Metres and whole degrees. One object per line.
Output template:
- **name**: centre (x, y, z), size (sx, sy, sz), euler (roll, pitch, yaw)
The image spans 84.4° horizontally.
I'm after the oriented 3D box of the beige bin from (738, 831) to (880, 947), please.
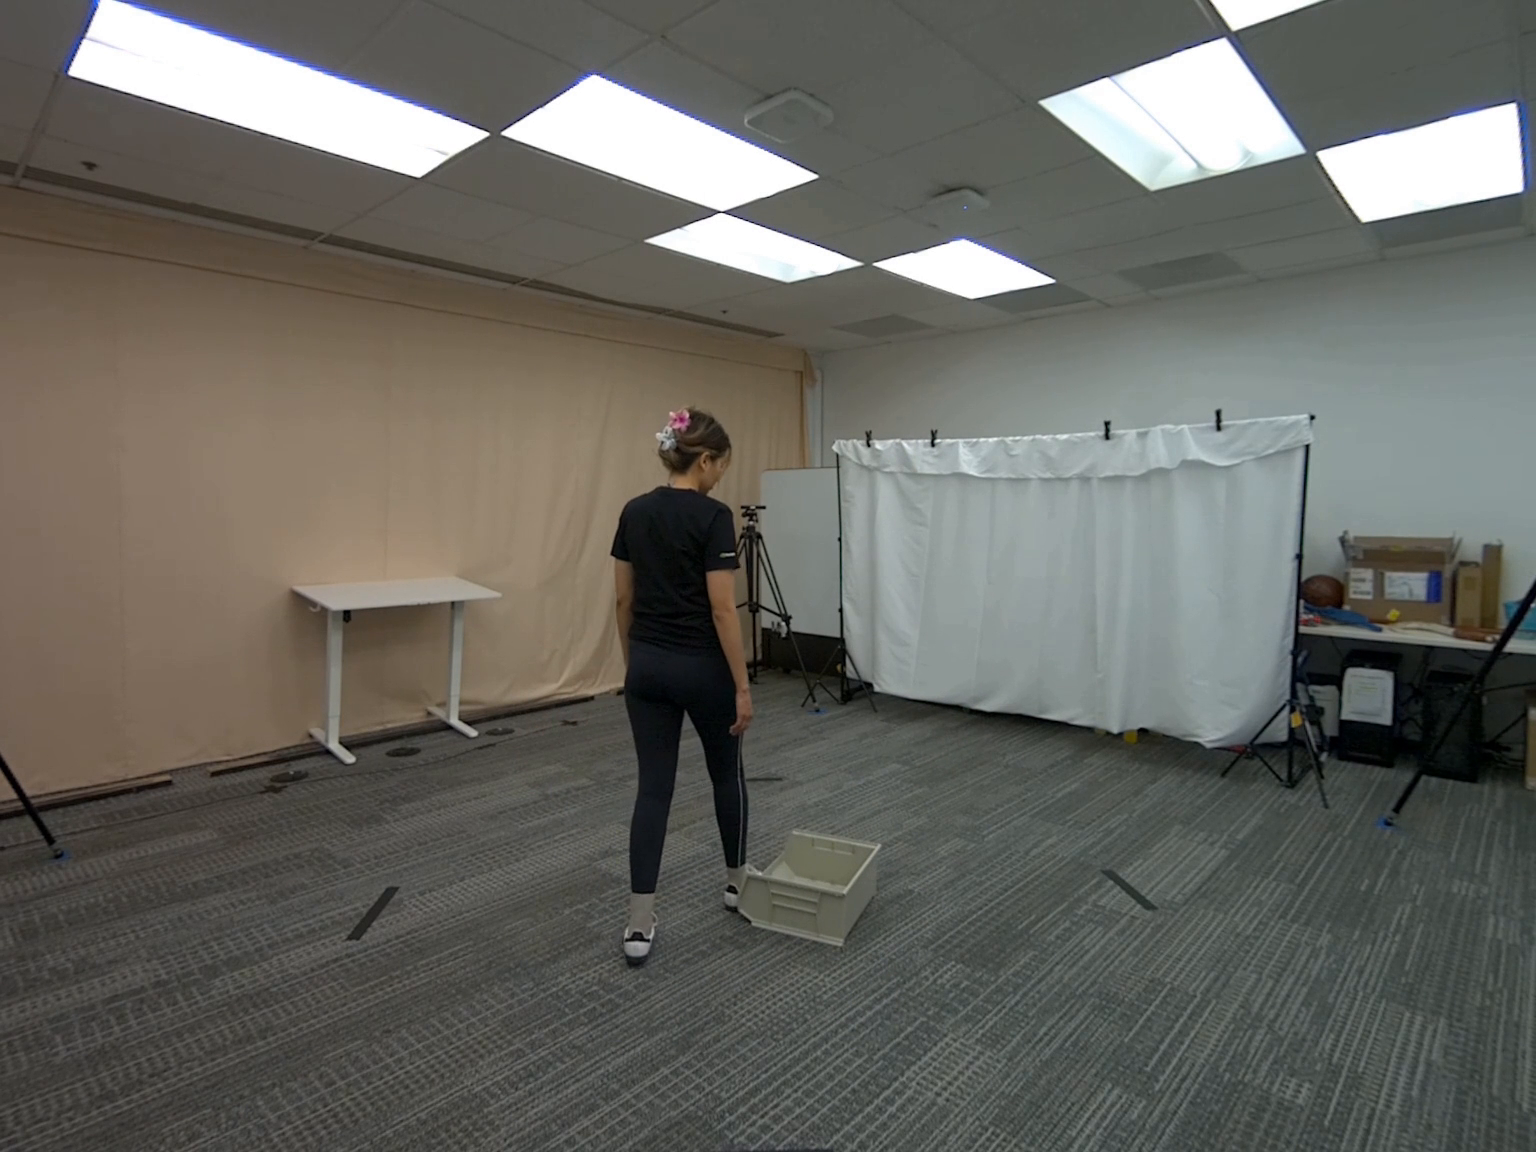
- **beige bin**: centre (0.152, 1.059, 2.910), size (0.387, 0.188, 0.412), euler (3, 5, 25)
